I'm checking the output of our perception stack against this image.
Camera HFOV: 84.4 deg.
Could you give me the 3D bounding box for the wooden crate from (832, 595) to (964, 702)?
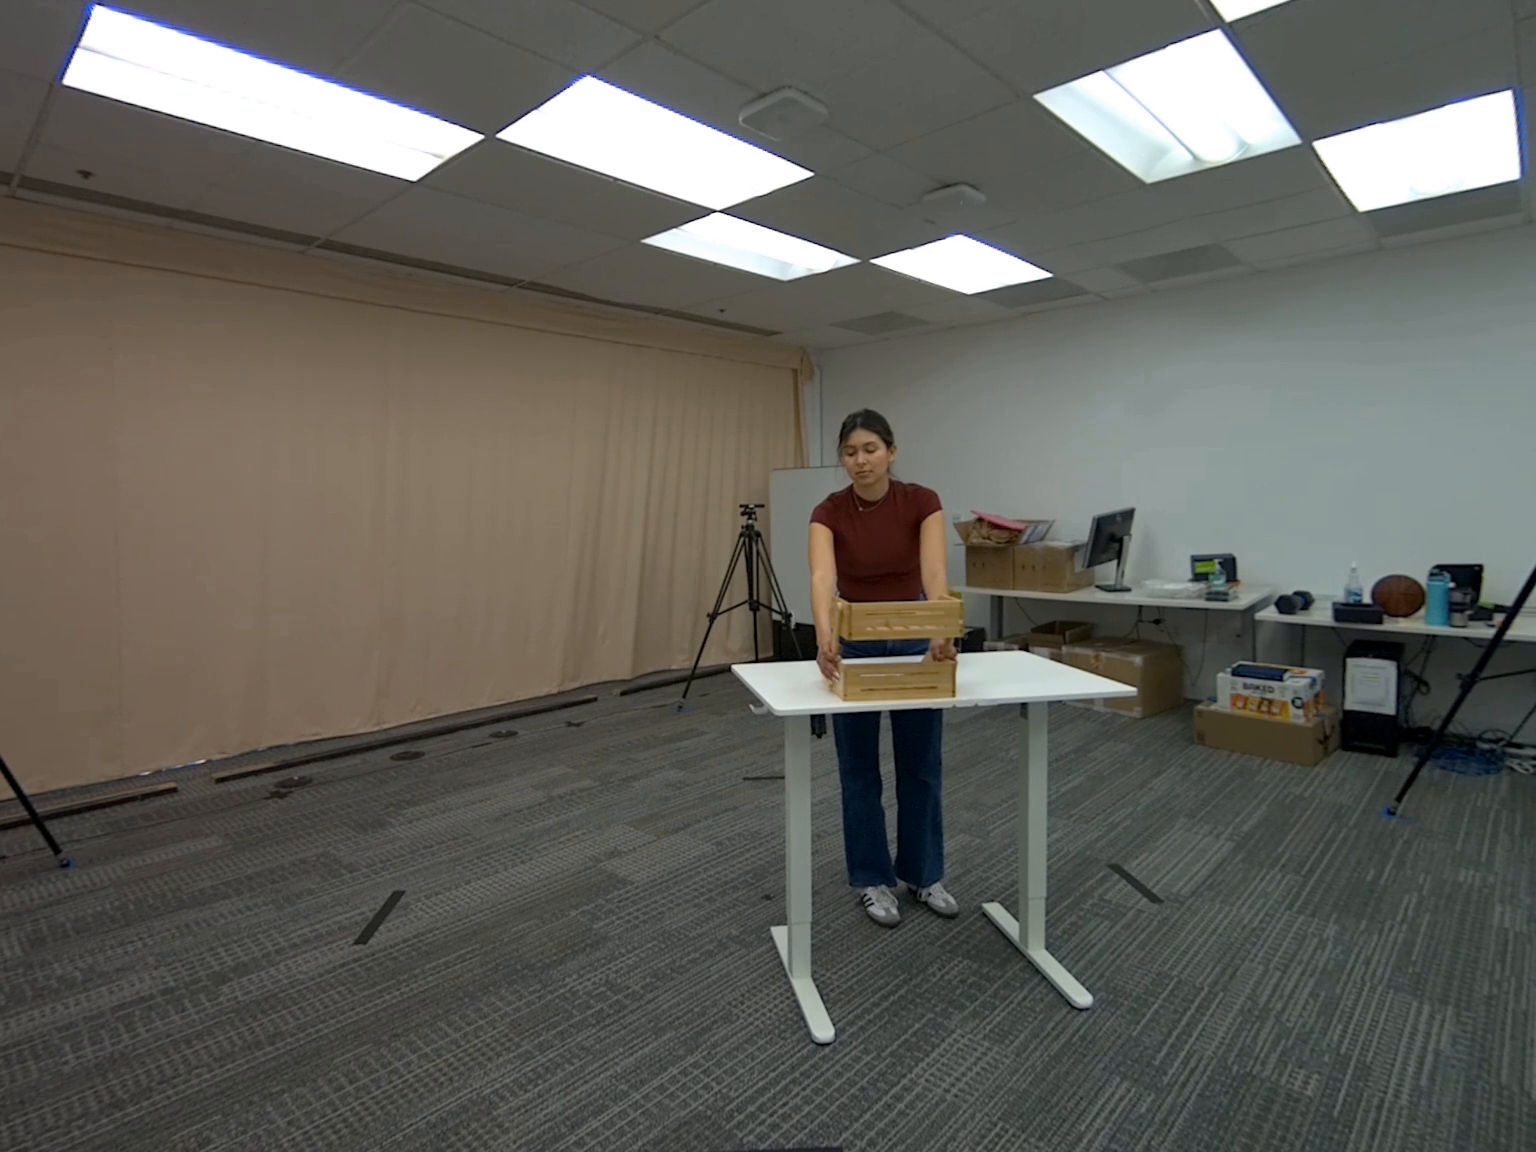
[{"bbox_3d":[0.332,0.180,2.278,0.322,0.272,0.305,-1,5,-8],"label":"wooden crate"}]
